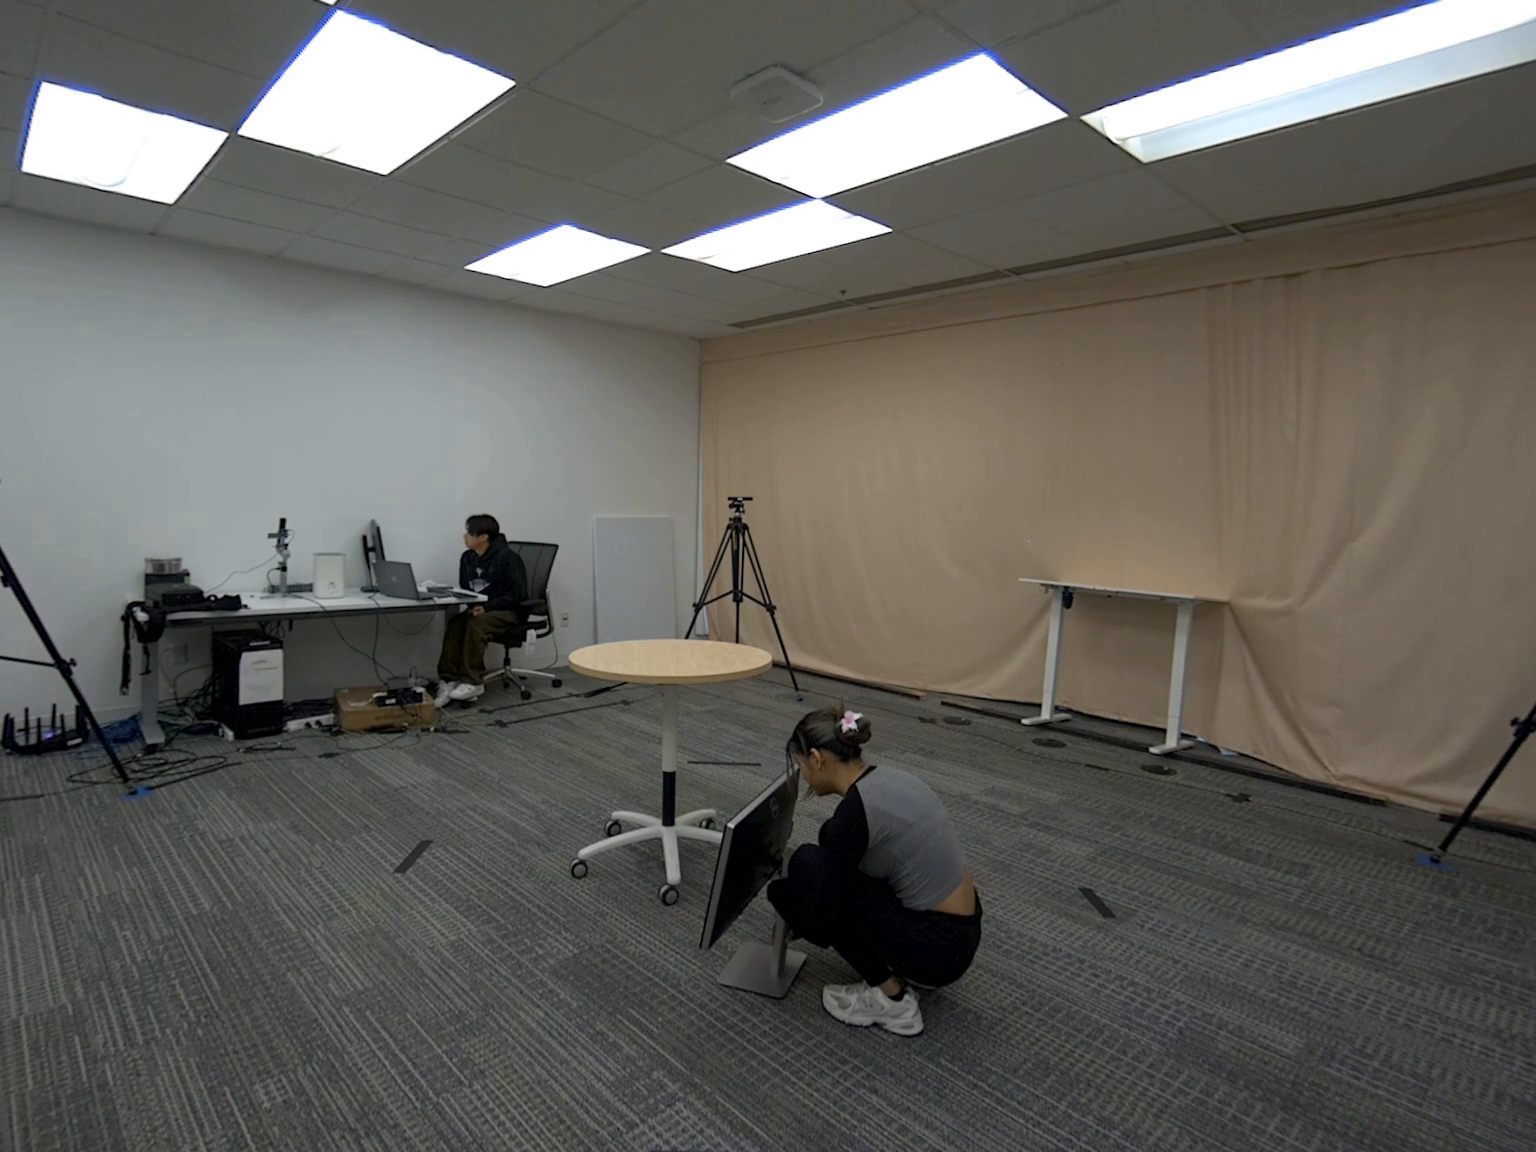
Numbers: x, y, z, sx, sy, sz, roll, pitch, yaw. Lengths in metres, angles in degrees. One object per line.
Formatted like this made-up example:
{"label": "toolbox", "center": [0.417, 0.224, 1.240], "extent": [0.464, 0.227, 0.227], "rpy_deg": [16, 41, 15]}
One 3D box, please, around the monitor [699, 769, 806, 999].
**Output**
{"label": "monitor", "center": [-0.010, 0.900, 2.473], "extent": [0.190, 0.521, 0.532], "rpy_deg": [2, 5, 20]}
